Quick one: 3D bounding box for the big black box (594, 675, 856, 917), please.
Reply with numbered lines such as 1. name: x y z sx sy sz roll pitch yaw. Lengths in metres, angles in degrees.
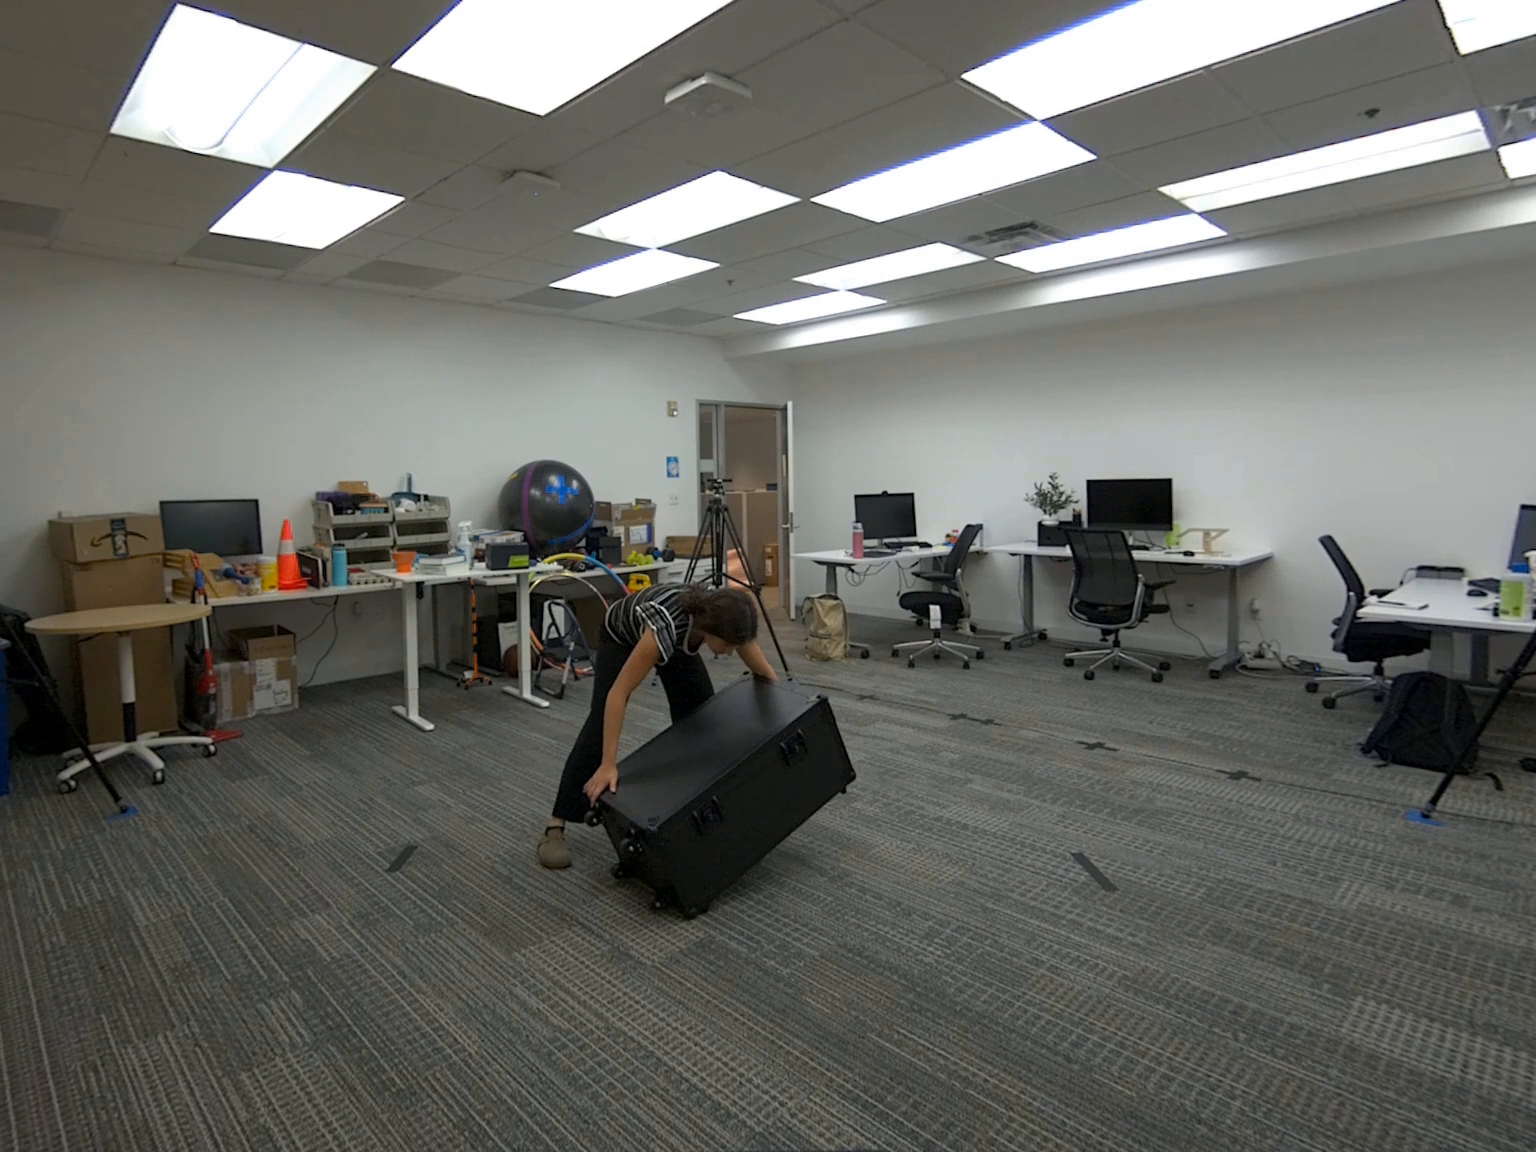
1. big black box: -0.182 0.758 3.031 0.853 0.388 0.536 -32 21 -29
